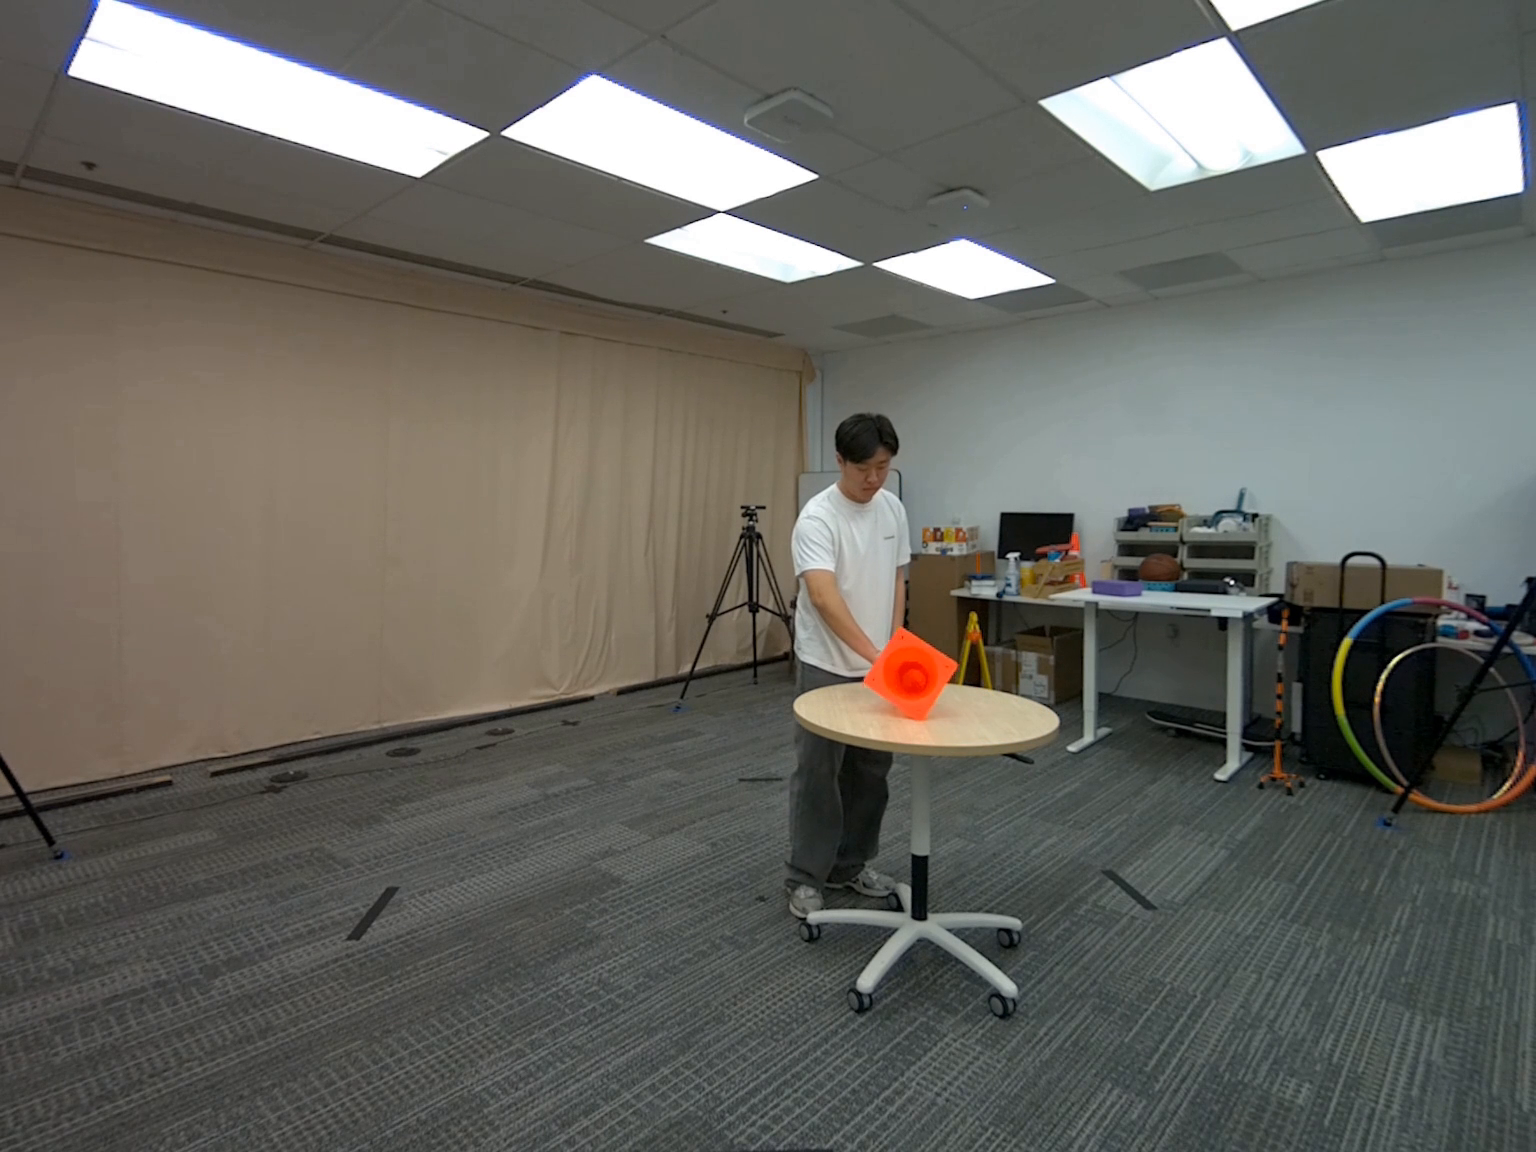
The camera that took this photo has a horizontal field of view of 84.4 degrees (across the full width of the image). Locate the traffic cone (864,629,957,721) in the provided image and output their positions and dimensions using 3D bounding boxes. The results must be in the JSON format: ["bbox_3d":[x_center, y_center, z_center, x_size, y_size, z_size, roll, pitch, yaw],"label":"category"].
[{"bbox_3d":[0.458,0.321,2.592,0.210,0.203,0.374,33,-2,20],"label":"traffic cone"}]
